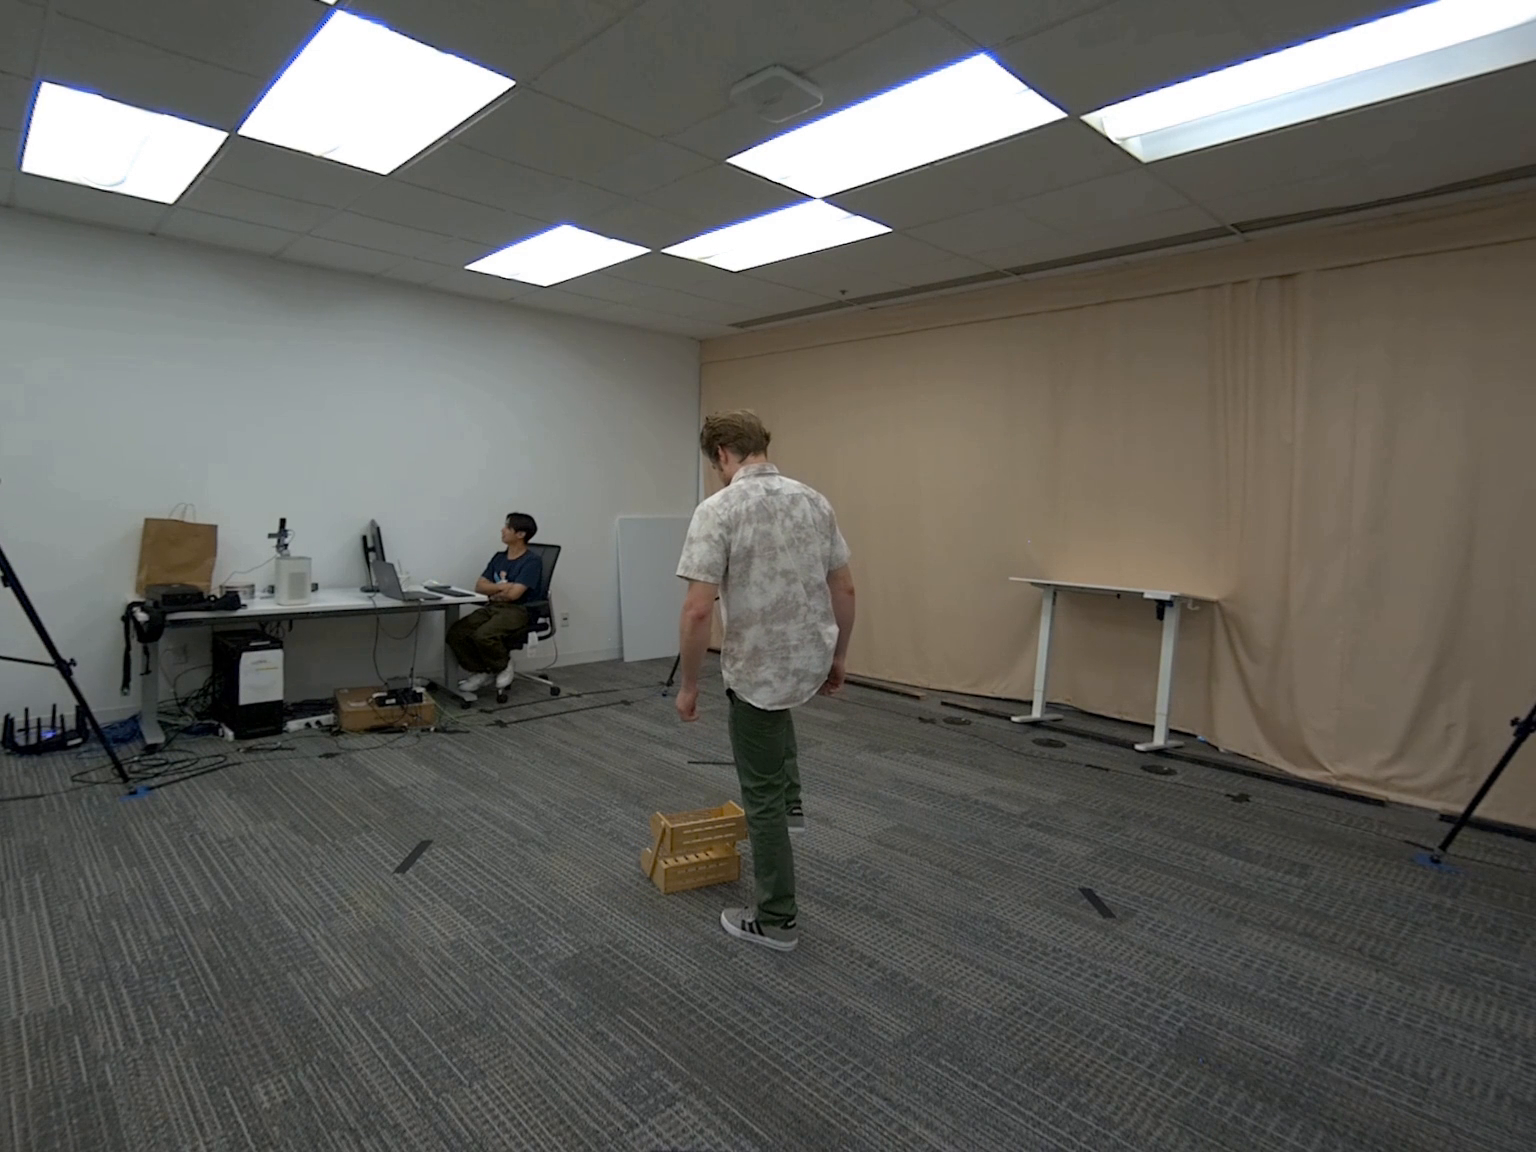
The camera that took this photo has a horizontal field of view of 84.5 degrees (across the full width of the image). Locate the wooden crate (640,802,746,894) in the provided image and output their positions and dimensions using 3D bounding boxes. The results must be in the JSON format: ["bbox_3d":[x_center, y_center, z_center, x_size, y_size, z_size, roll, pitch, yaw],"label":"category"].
[{"bbox_3d":[-0.287,0.974,3.102,0.318,0.272,0.309,-1,5,-28],"label":"wooden crate"}]
